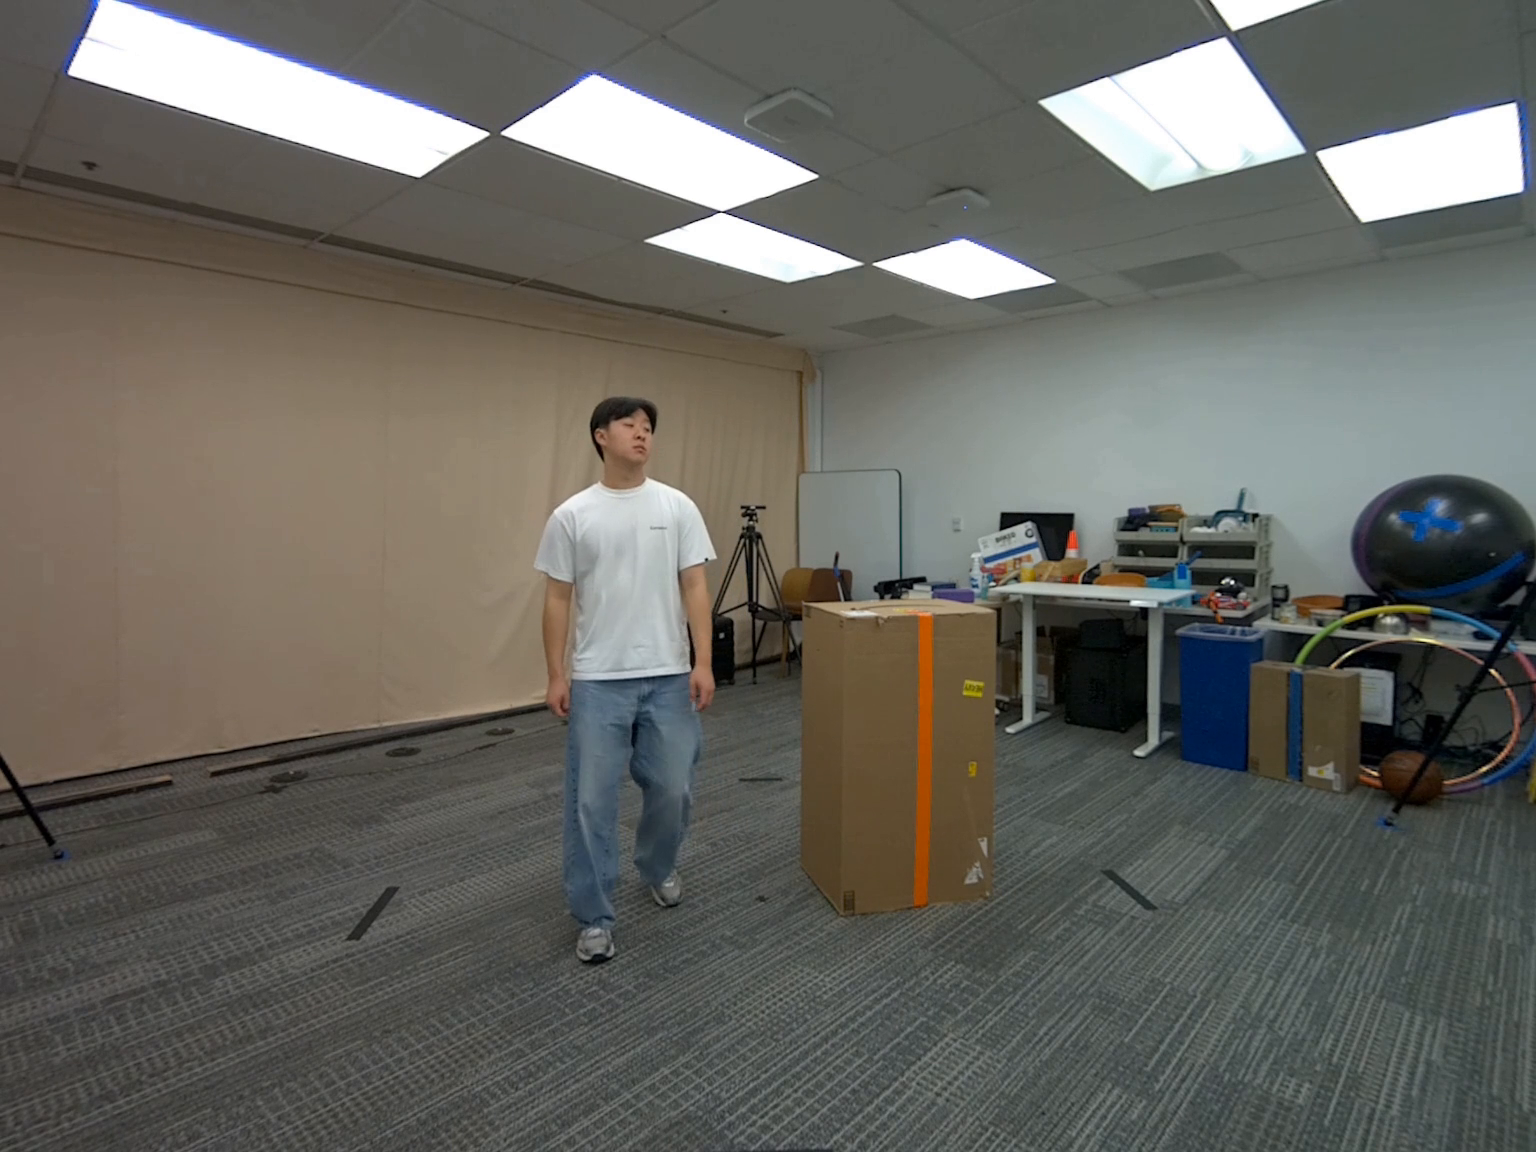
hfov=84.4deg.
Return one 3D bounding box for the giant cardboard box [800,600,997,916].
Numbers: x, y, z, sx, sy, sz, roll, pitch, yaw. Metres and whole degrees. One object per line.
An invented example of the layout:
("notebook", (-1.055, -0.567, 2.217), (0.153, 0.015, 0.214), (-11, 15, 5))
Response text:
("giant cardboard box", (0.467, 0.622, 3.099), (0.568, 1.024, 0.434), (-1, 3, -17))
